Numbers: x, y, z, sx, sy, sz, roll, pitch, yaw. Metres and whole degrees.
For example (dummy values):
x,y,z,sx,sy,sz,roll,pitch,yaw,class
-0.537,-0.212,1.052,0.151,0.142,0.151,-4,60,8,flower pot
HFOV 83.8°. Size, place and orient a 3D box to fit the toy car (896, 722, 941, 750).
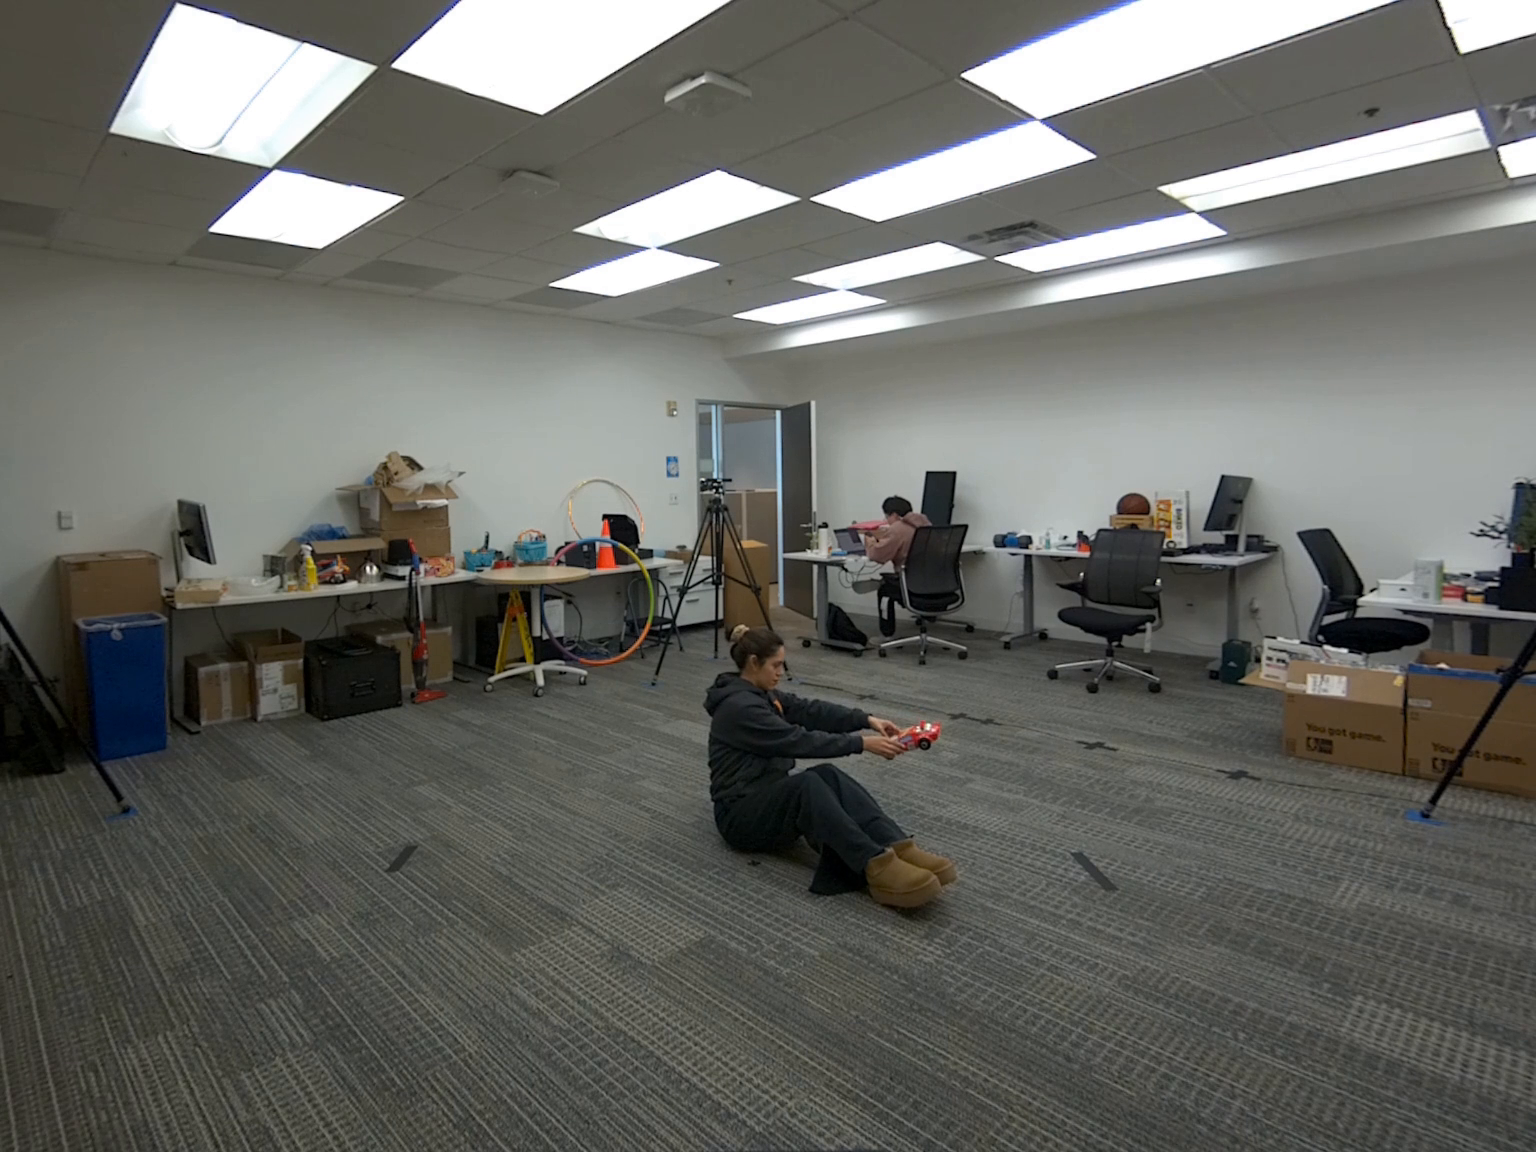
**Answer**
x,y,z,sx,sy,sz,roll,pitch,yaw,class
0.554,0.634,3.273,0.256,0.083,0.130,-34,3,21,toy car
